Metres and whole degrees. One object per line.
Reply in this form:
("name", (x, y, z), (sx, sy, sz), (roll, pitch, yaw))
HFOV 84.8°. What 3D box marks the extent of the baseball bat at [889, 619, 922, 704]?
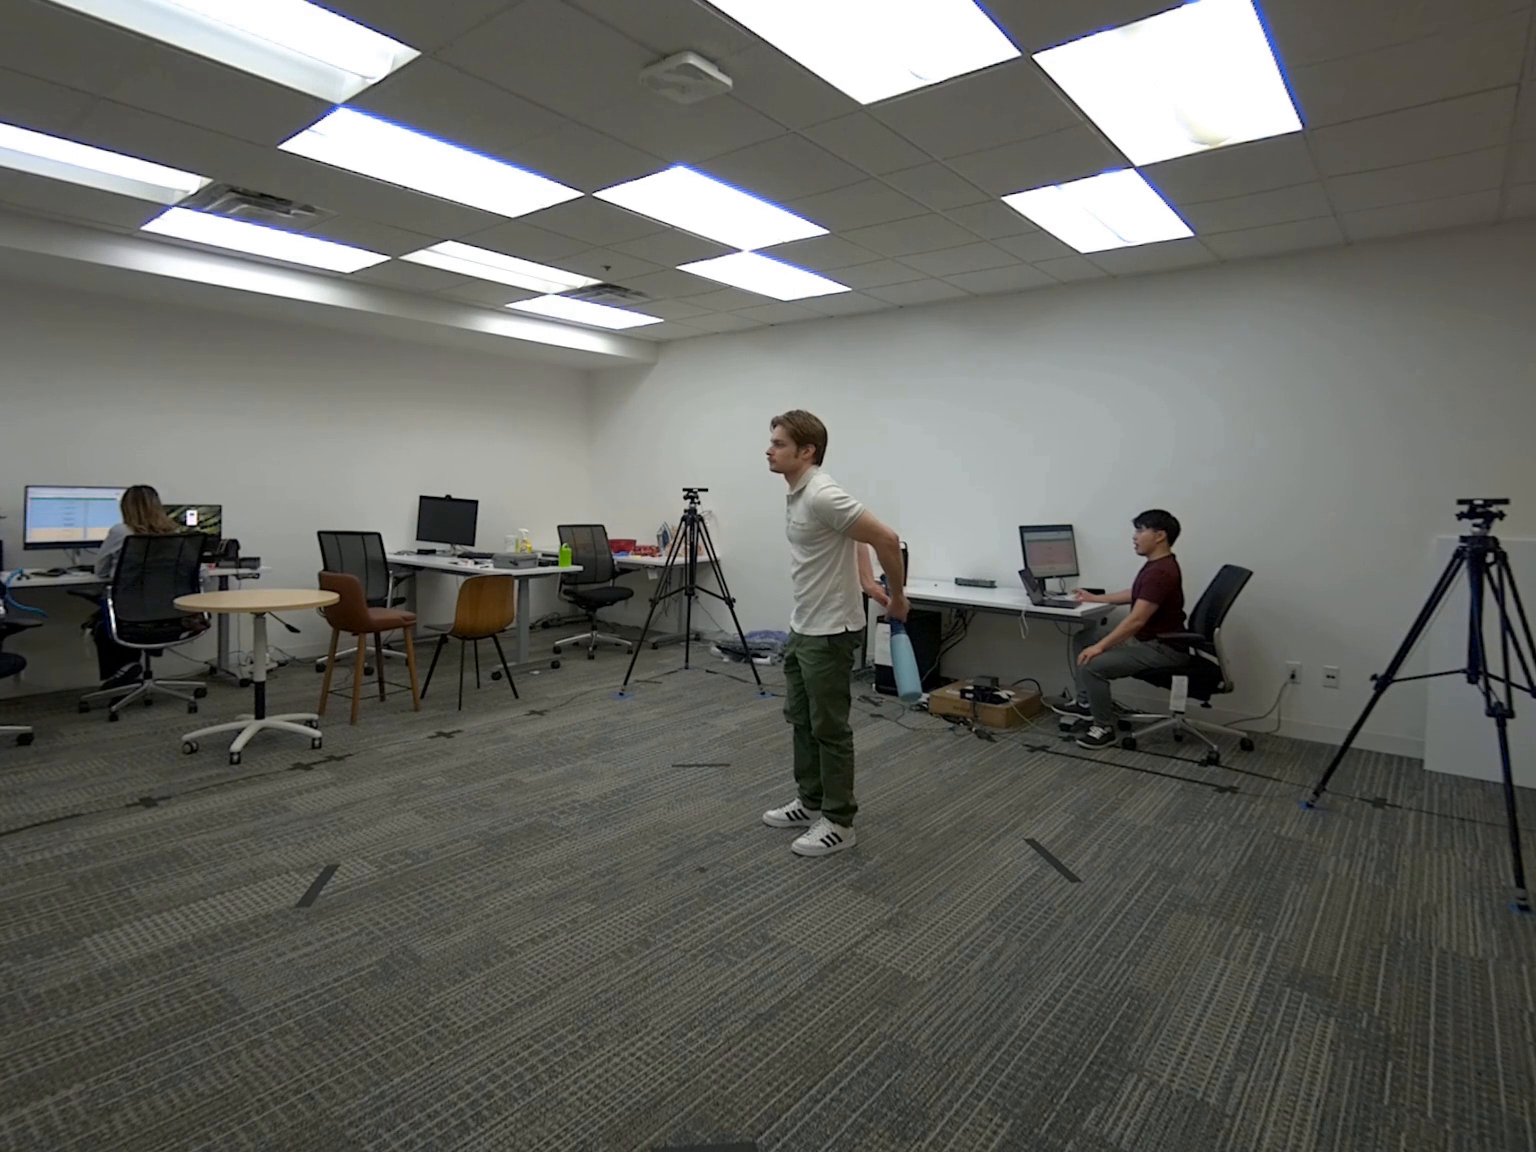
("baseball bat", (0.491, 0.229, 3.253), (0.089, 0.559, 0.087), (-4, -34, -4))
